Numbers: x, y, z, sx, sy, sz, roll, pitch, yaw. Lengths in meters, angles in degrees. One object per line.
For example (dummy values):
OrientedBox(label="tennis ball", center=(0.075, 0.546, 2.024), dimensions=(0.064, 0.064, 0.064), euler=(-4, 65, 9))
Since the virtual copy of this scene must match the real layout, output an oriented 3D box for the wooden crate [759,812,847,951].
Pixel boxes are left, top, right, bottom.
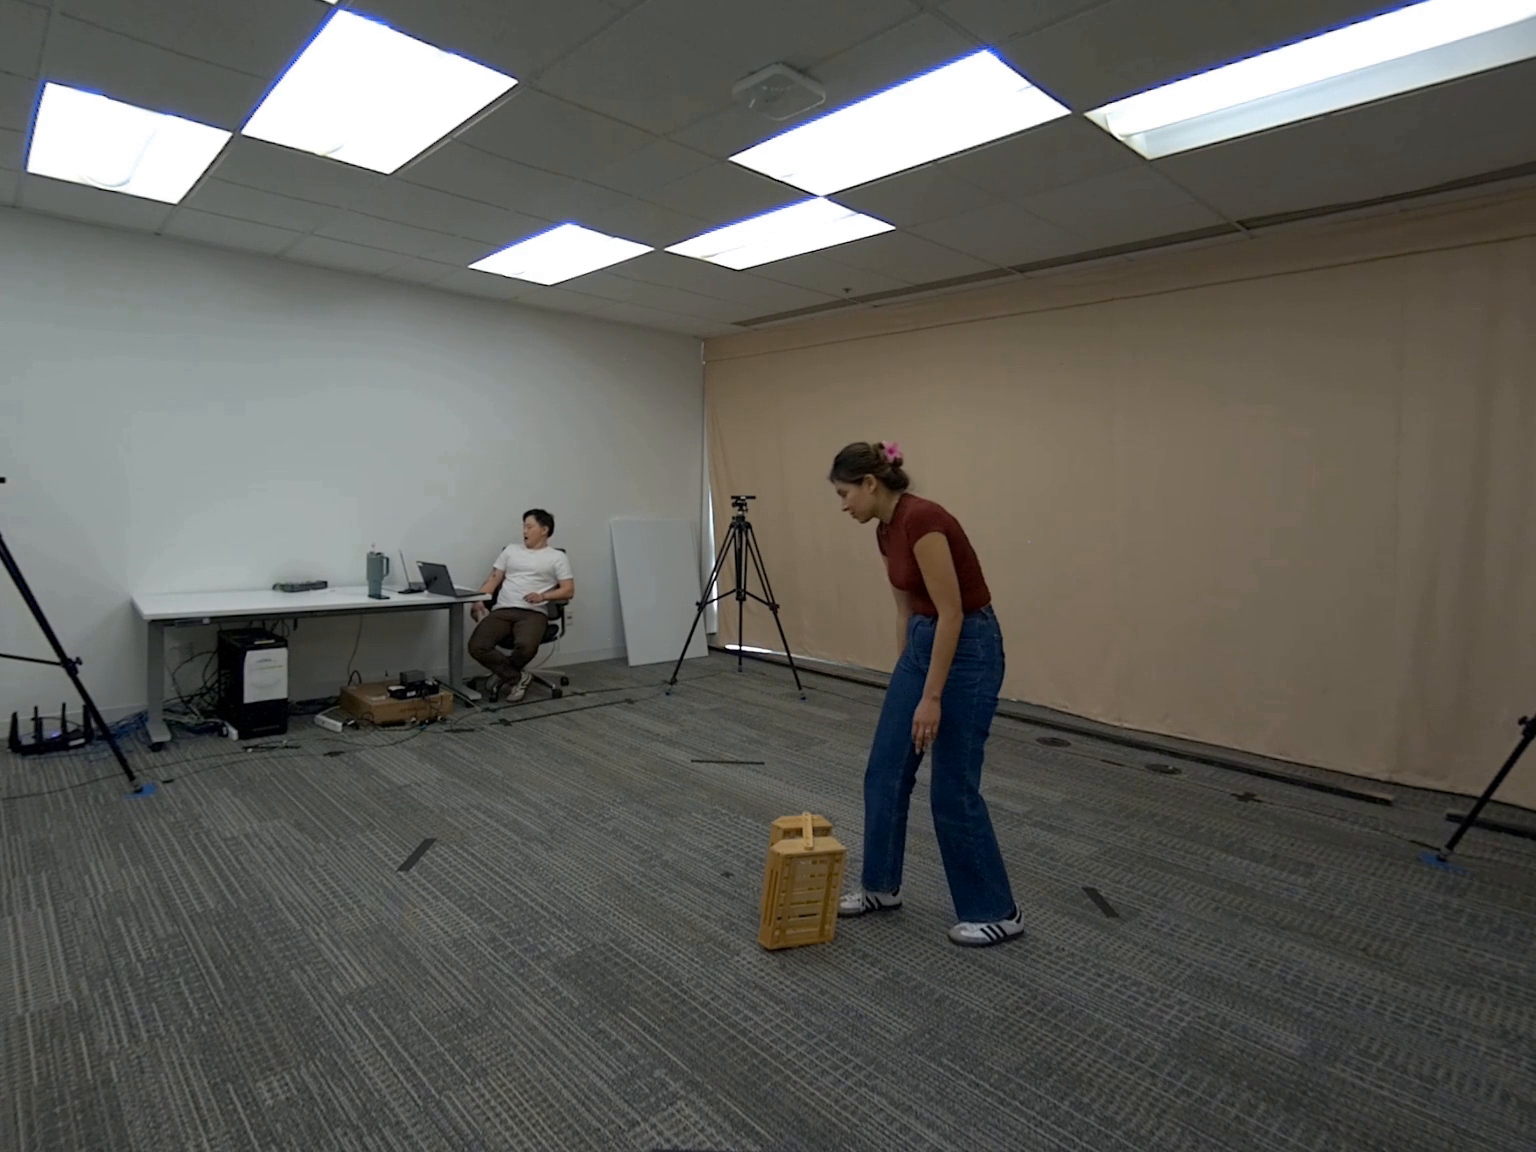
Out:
OrientedBox(label="wooden crate", center=(0.077, 0.971, 2.724), dimensions=(0.296, 0.323, 0.280), euler=(5, 5, -26))
